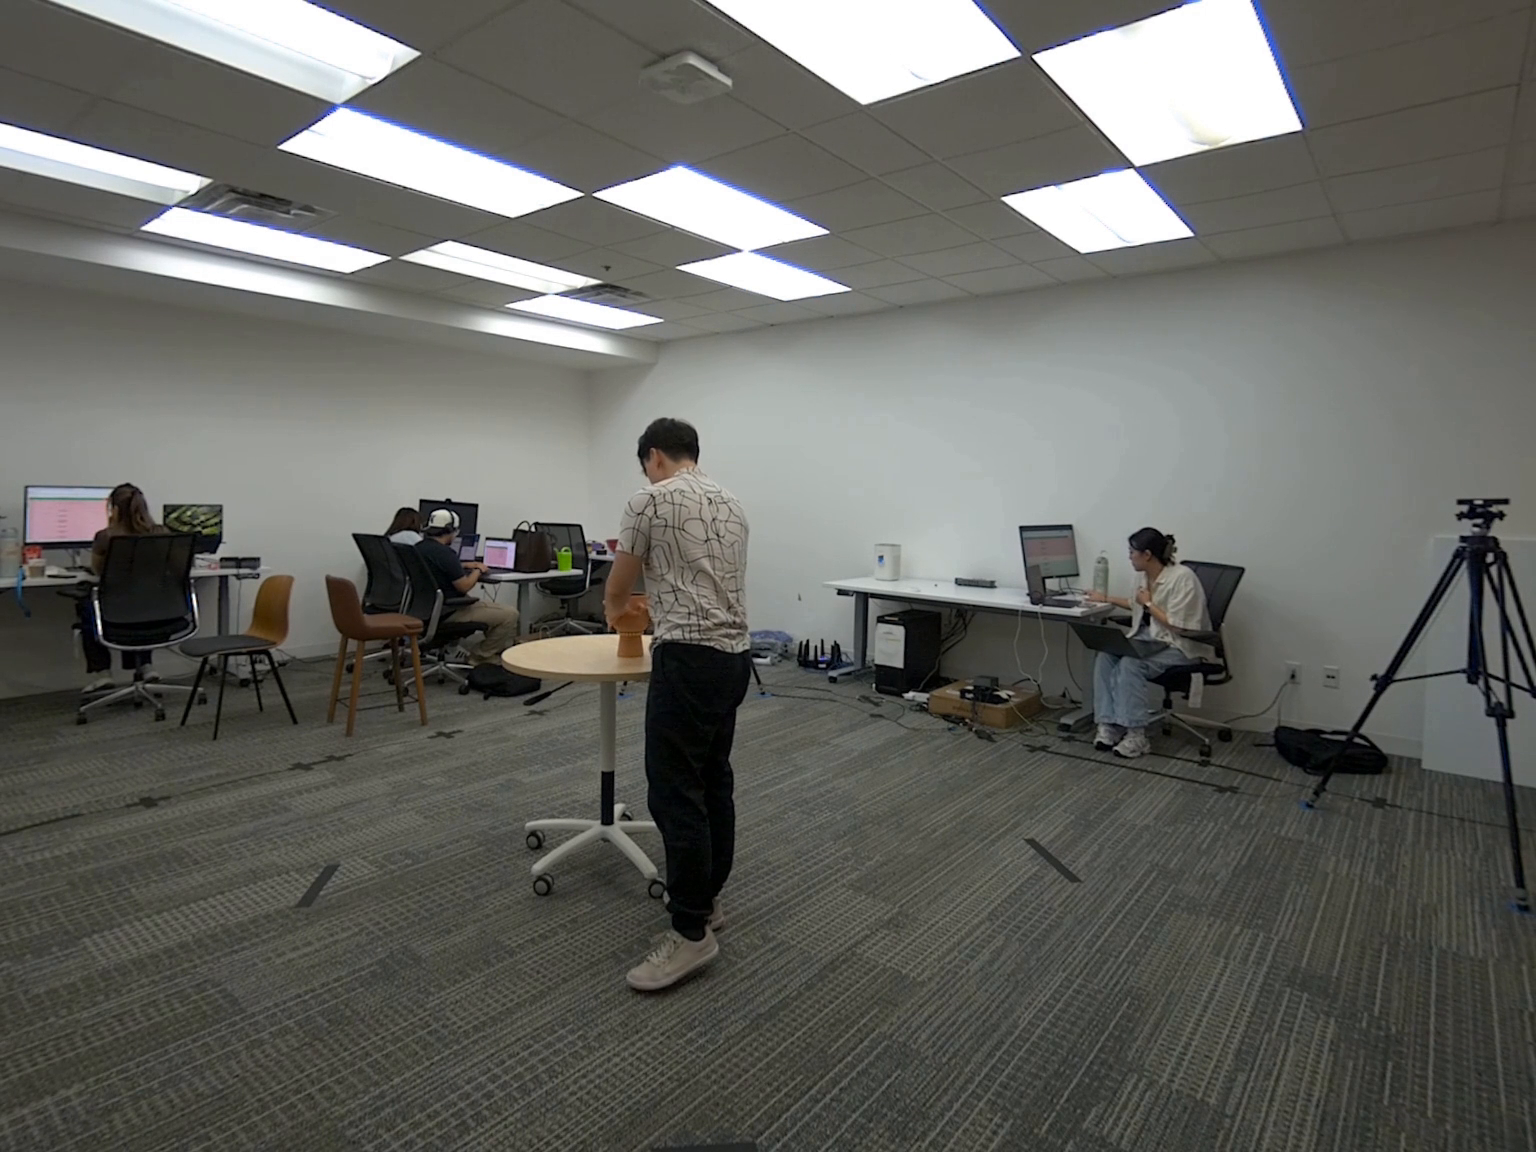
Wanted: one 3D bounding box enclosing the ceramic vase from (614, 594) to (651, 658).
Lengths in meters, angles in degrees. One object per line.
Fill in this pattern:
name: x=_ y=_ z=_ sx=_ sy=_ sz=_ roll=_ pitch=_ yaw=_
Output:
ceramic vase: x=-0.513 y=0.175 z=3.074 sx=0.135 sy=0.219 sz=0.159 roll=1 pitch=2 yaw=1
